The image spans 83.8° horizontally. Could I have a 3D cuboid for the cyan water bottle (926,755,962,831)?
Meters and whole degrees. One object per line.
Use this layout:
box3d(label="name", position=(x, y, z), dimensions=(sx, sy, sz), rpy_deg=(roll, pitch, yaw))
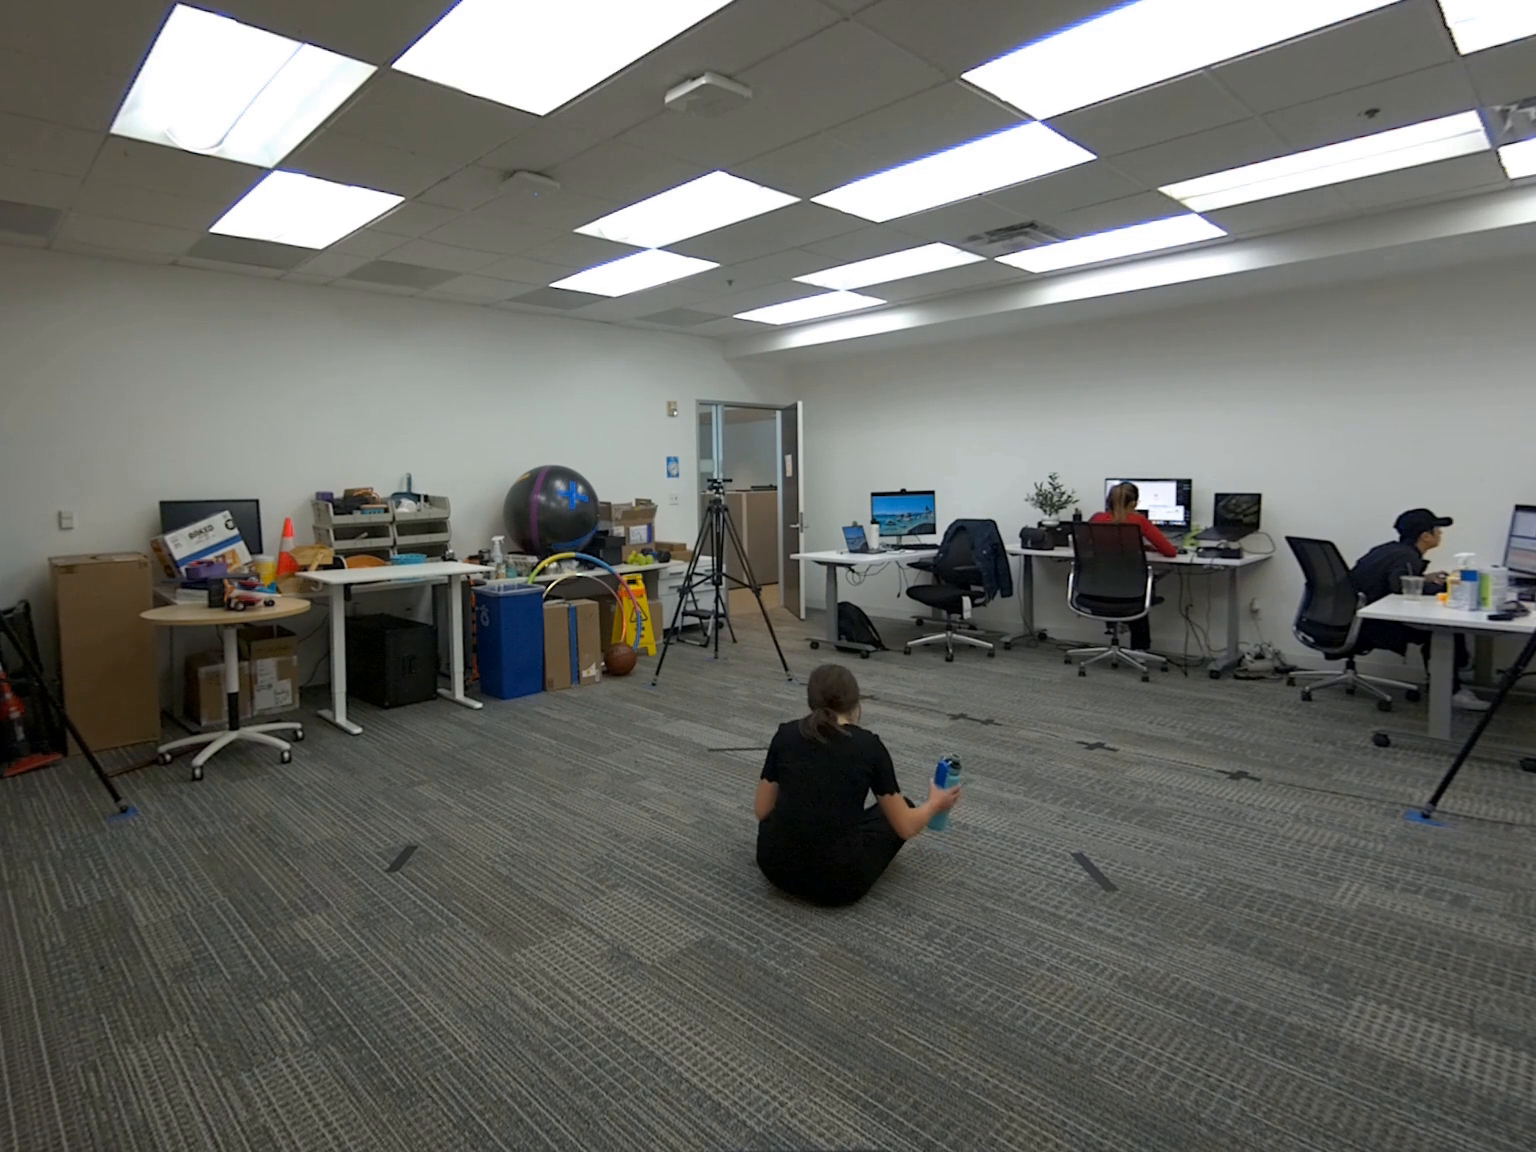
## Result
box3d(label="cyan water bottle", position=(0.633, 0.780, 3.113), dimensions=(0.092, 0.280, 0.094), rpy_deg=(9, 16, -4))
